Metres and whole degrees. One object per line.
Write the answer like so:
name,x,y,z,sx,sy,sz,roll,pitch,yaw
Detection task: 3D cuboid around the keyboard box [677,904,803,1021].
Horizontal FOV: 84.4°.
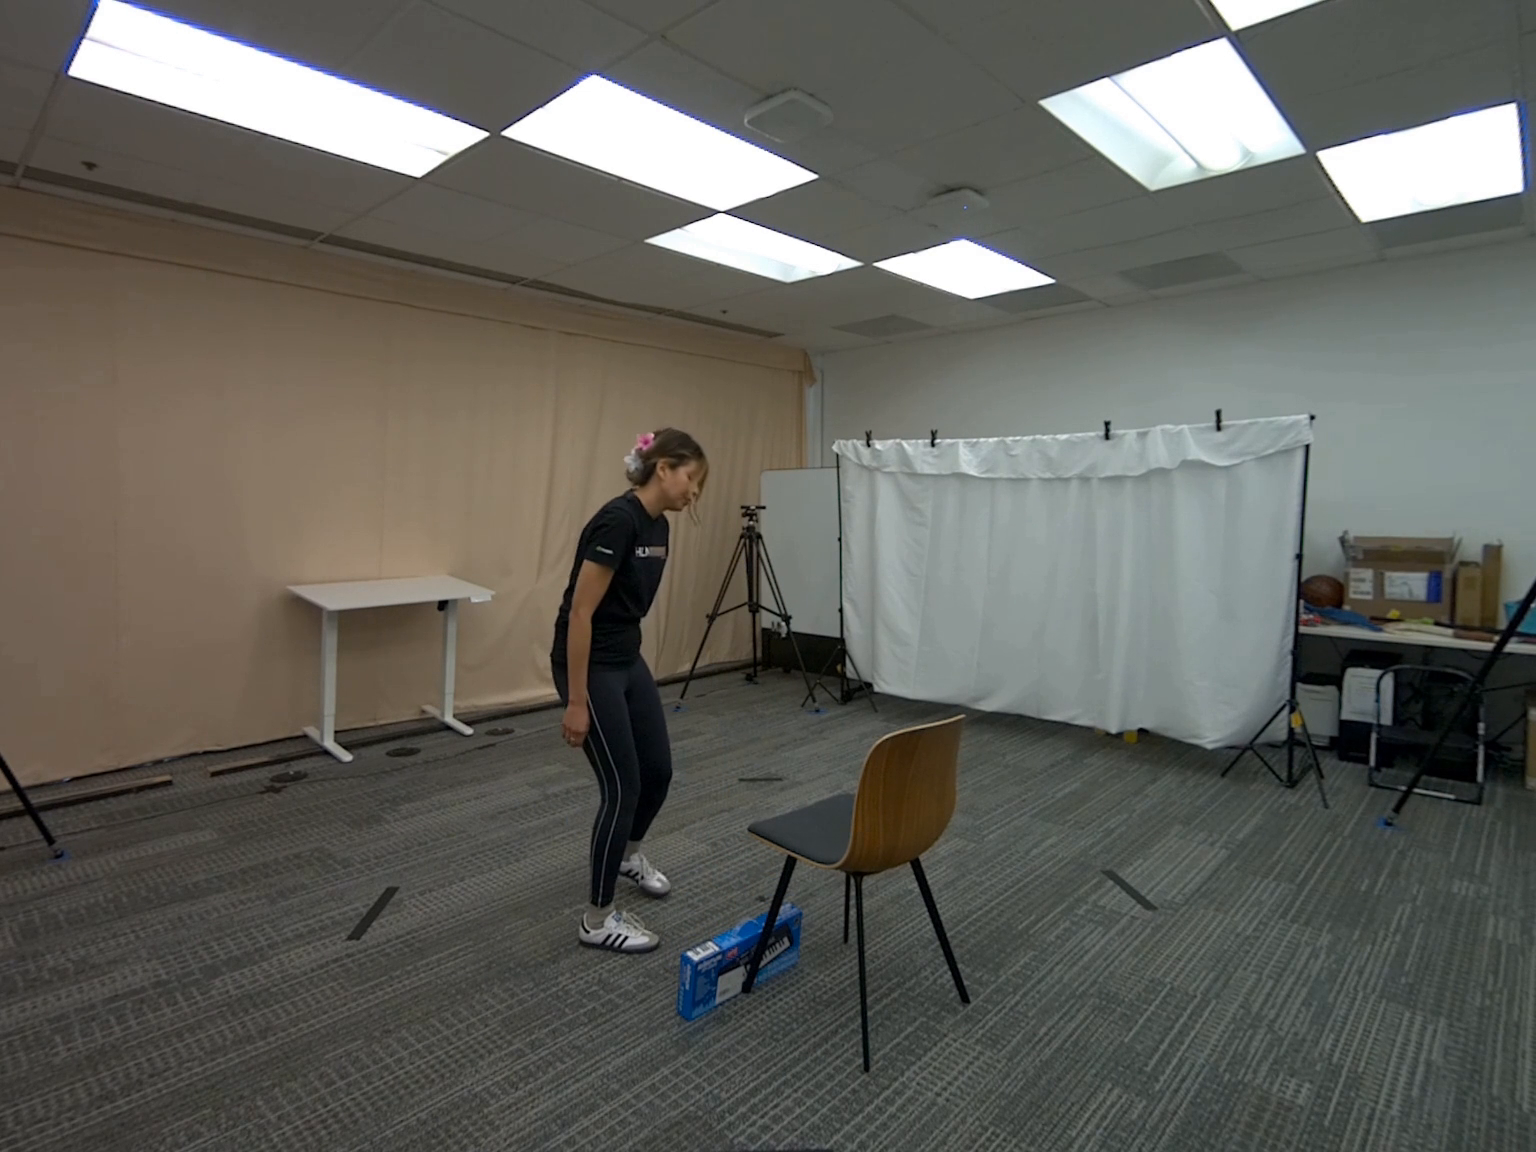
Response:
keyboard box,-0.073,1.104,2.423,0.423,0.175,0.061,-4,12,-44
